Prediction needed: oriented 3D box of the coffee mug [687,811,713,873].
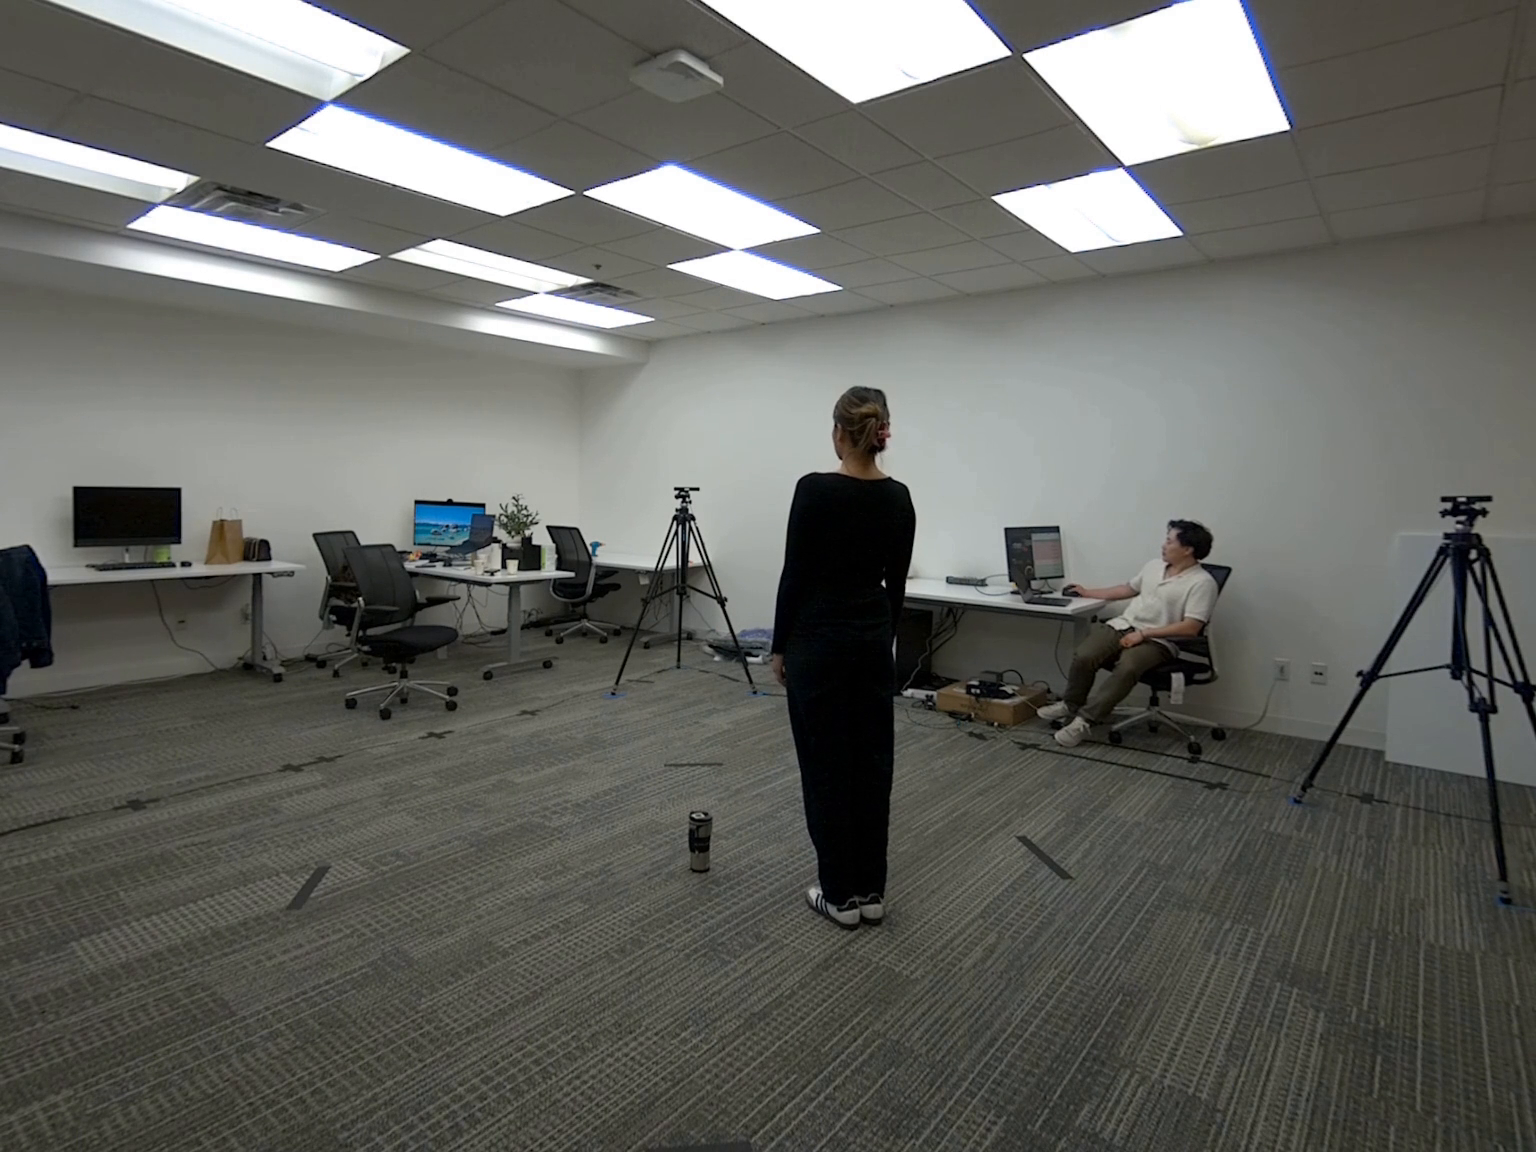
[{"bbox_3d":[-0.269,0.968,3.103,0.085,0.201,0.126,-6,13,-42],"label":"coffee mug"}]
